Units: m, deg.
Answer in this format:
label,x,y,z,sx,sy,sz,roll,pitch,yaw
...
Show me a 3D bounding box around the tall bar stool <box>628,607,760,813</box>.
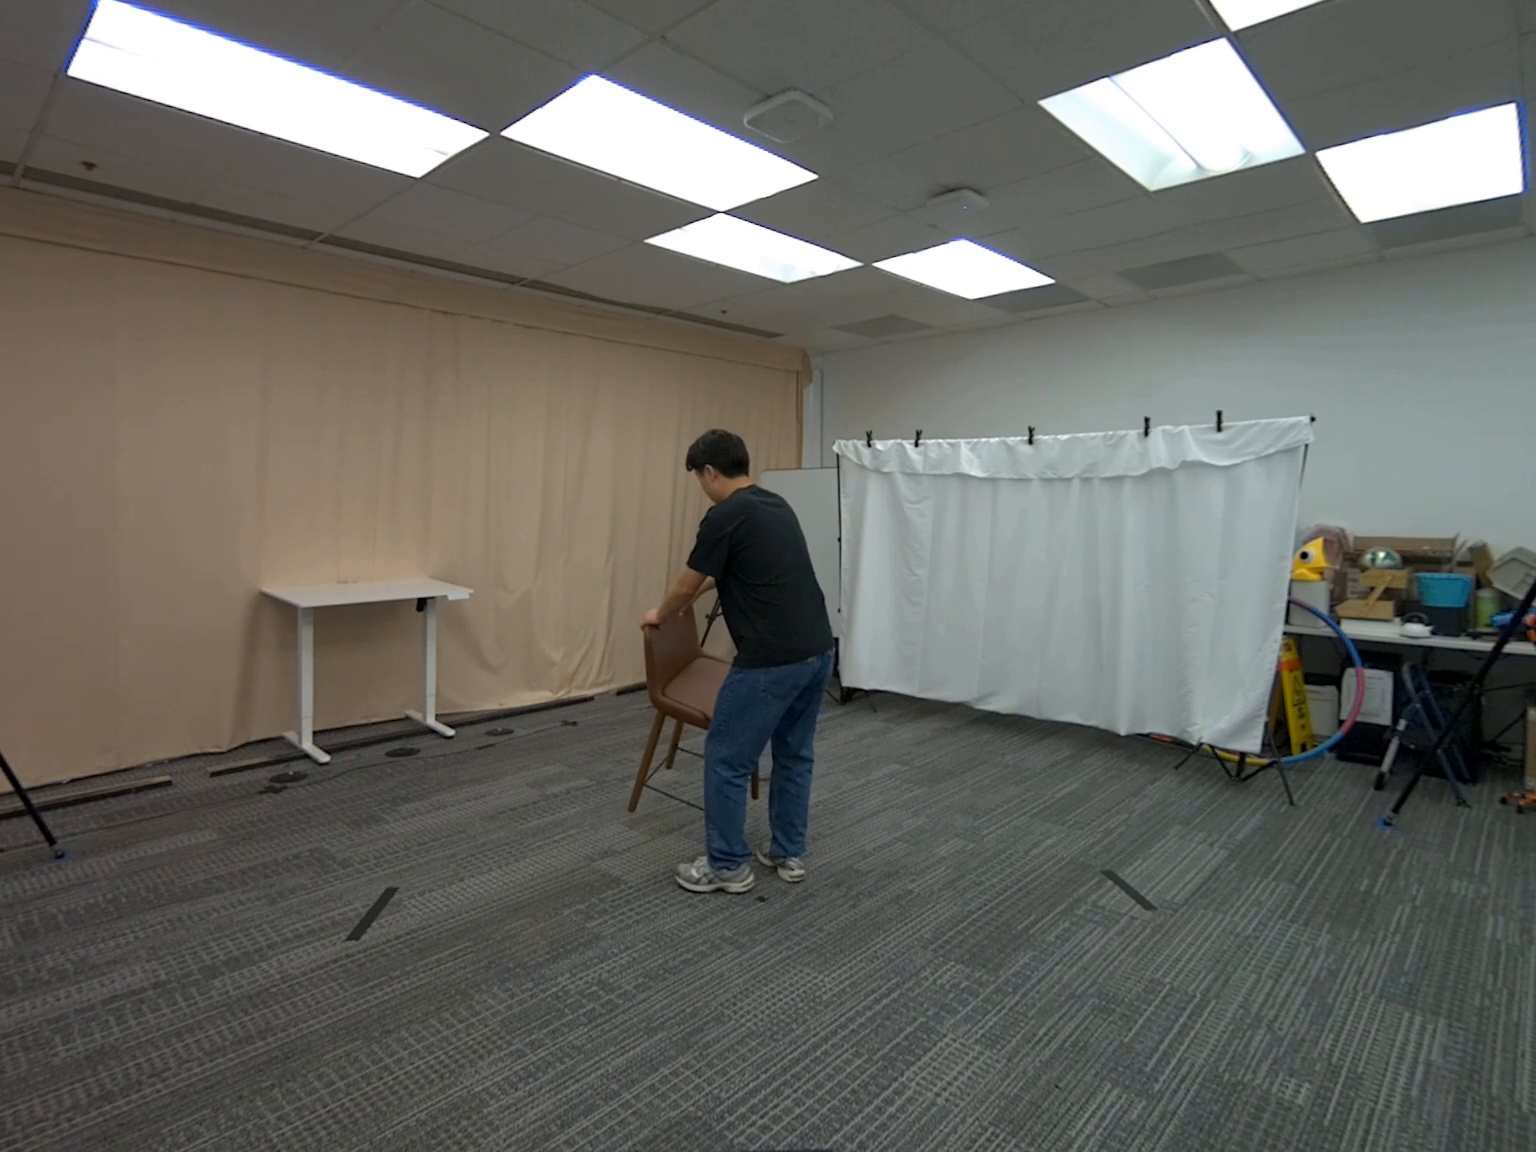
label,x,y,z,sx,sy,sz,roll,pitch,yaw
tall bar stool,-0.271,0.597,3.484,0.478,0.881,0.451,14,22,18
